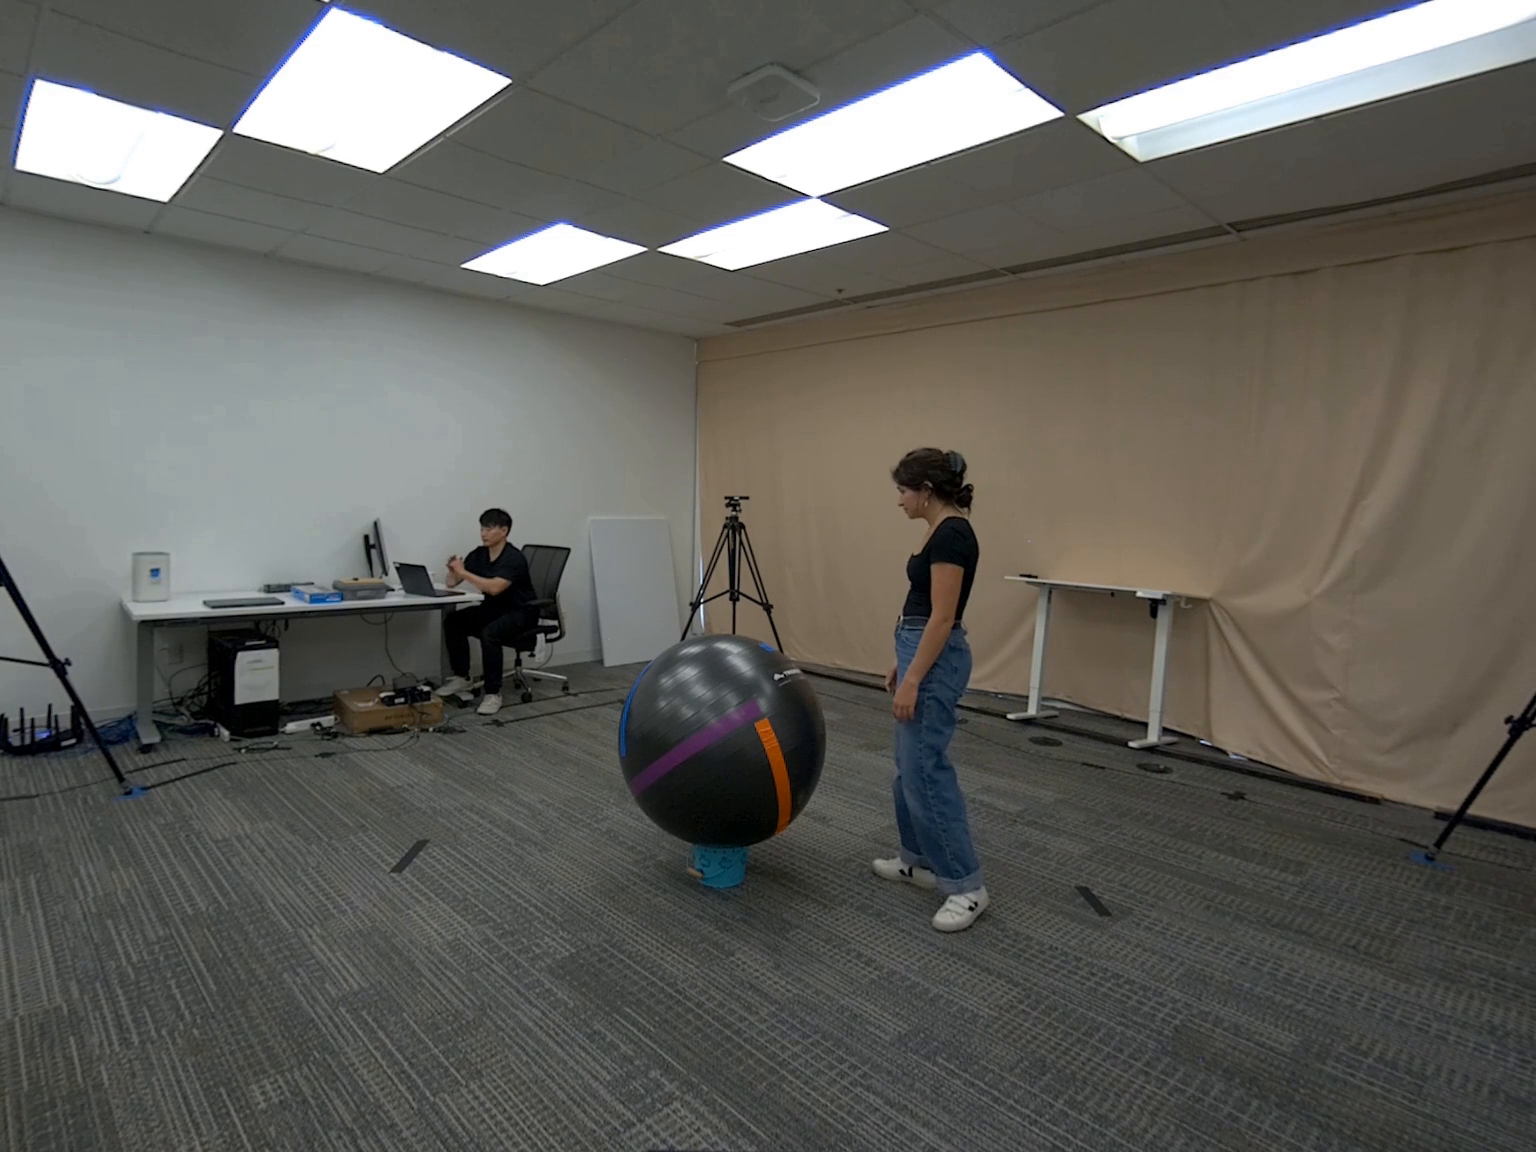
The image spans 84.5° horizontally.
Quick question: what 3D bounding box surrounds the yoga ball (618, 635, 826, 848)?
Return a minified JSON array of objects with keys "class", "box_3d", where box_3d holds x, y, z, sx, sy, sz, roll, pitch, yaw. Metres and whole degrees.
[{"class":"yoga ball","box_3d":[-0.173,0.592,3.067,0.757,0.756,0.761,1,4,-1]}]
